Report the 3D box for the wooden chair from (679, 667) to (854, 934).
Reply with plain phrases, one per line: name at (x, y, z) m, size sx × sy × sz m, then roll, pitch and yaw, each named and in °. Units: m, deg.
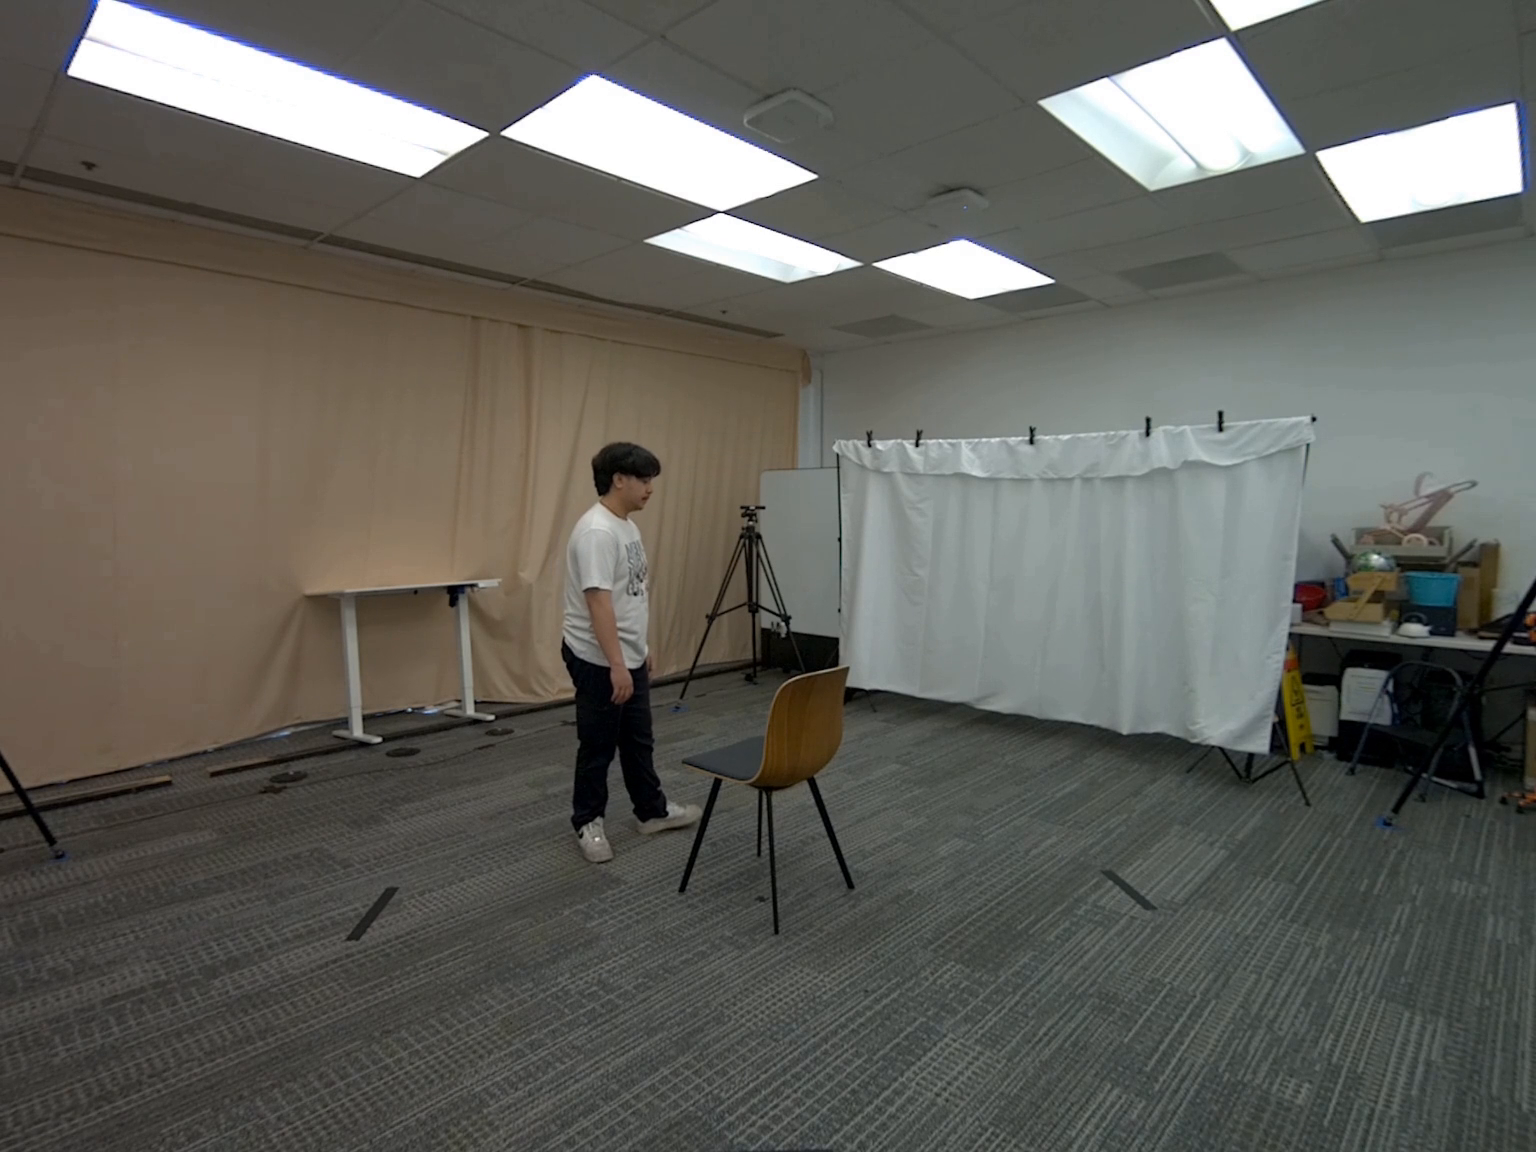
wooden chair at (-0.009, 0.712, 3.023) m, size 0.541 × 0.874 × 0.463 m, roll 9°, pitch 8°, yaw 41°
